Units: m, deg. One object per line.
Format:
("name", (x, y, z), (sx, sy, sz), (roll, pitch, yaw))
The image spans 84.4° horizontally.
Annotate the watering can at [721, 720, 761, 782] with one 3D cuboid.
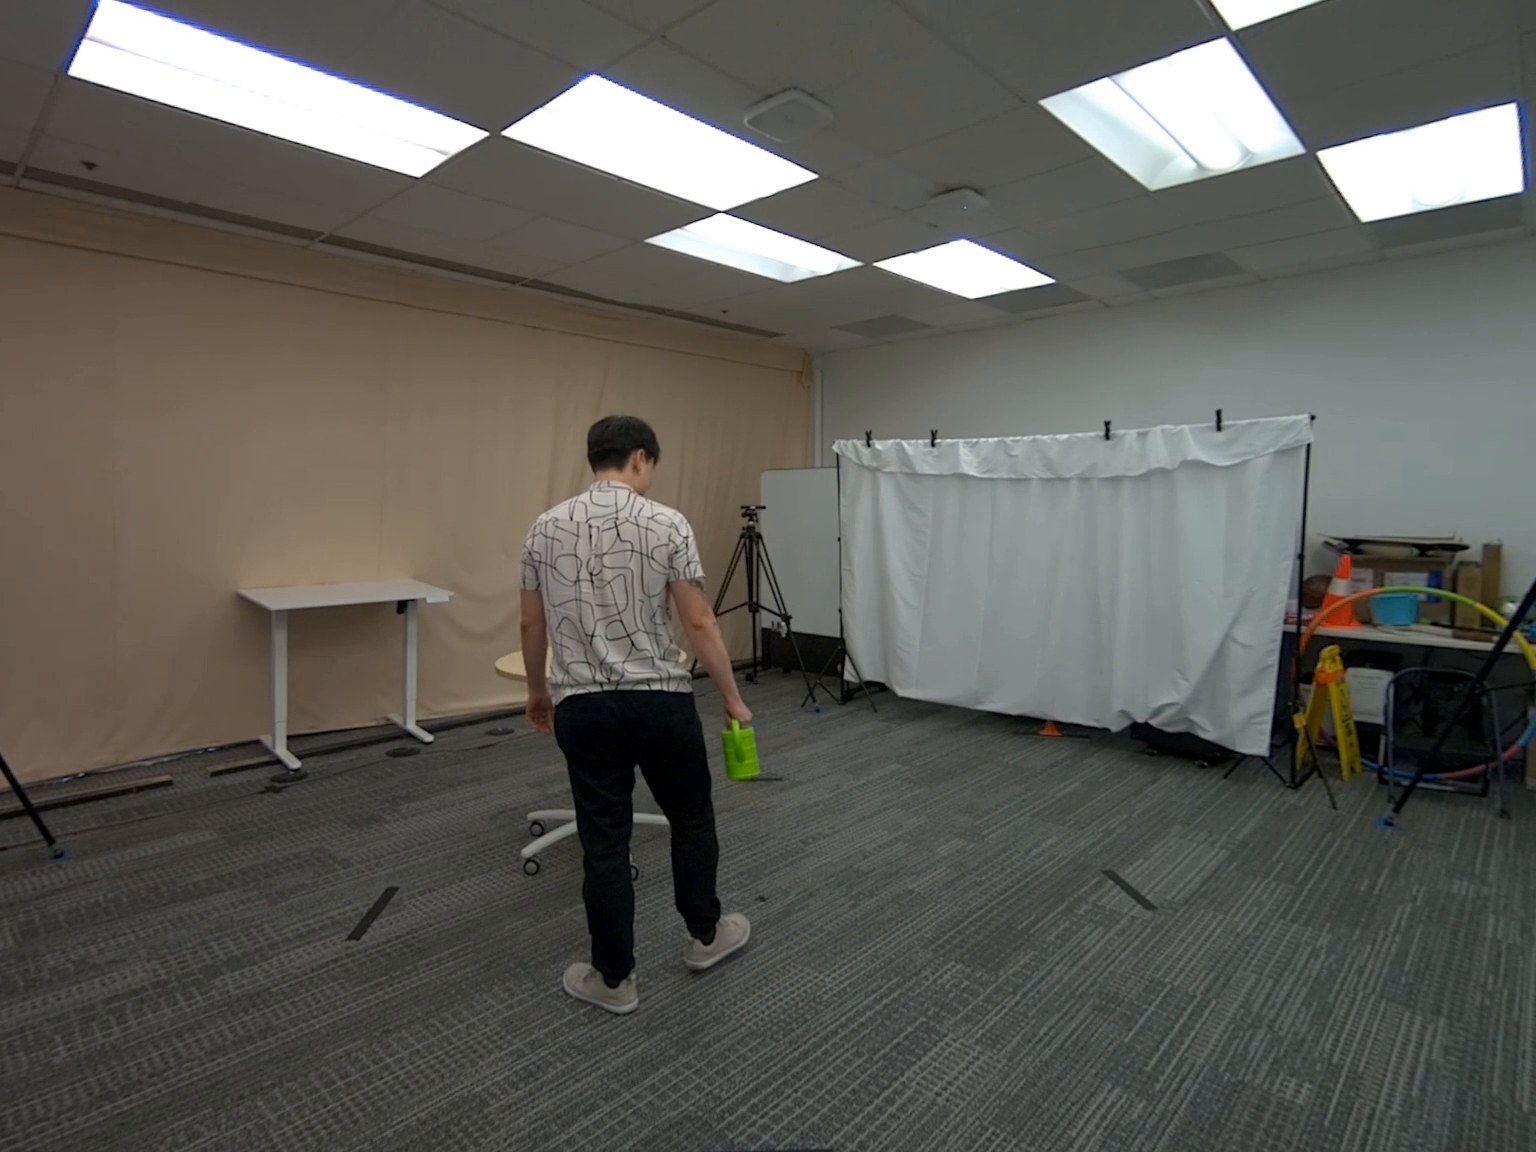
("watering can", (-0.068, 0.488, 2.423), (0.099, 0.177, 0.273), (-8, -5, 12))
